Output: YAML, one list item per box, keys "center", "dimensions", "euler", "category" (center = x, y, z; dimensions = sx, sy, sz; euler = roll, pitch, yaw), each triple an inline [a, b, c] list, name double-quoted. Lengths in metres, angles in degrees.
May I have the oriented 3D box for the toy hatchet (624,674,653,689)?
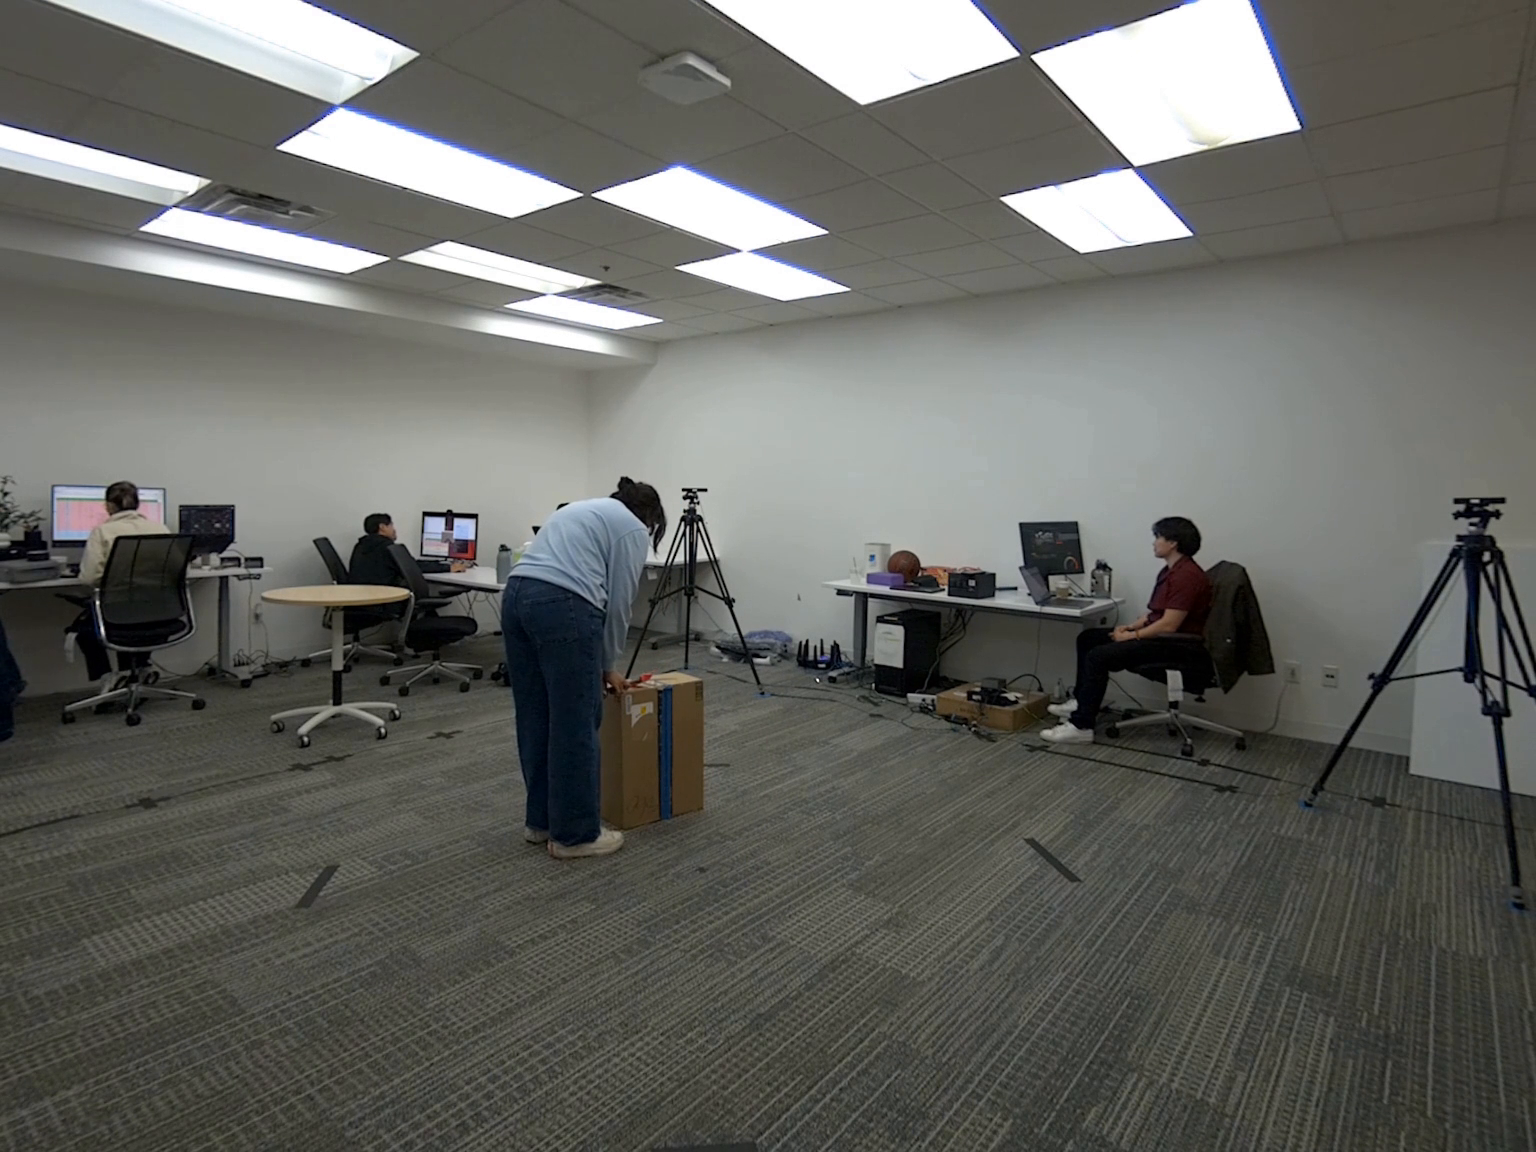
- center: [-0.626, 0.460, 3.502]
  dimensions: [0.265, 0.030, 0.132]
  euler: [-19, -5, -34]
  category: "toy hatchet"
